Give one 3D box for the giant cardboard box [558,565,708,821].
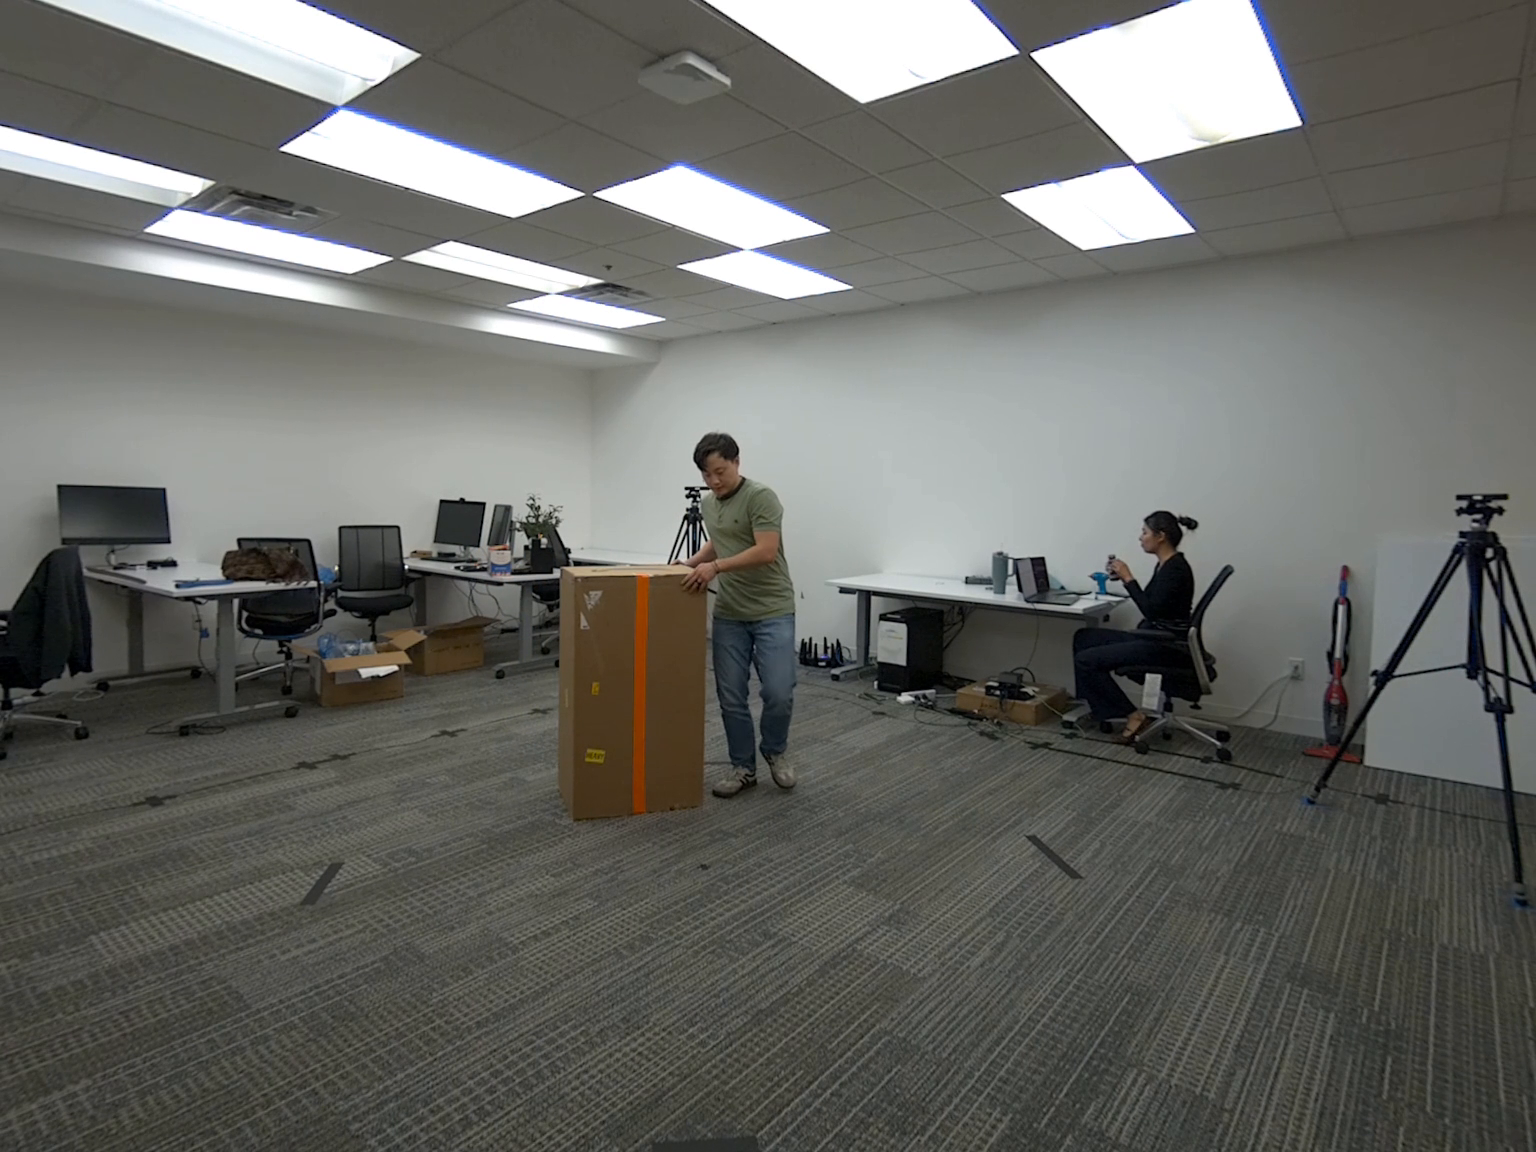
[{"bbox_3d":[-0.630,0.482,3.794,0.566,1.023,0.436,0,3,-21],"label":"giant cardboard box"}]
